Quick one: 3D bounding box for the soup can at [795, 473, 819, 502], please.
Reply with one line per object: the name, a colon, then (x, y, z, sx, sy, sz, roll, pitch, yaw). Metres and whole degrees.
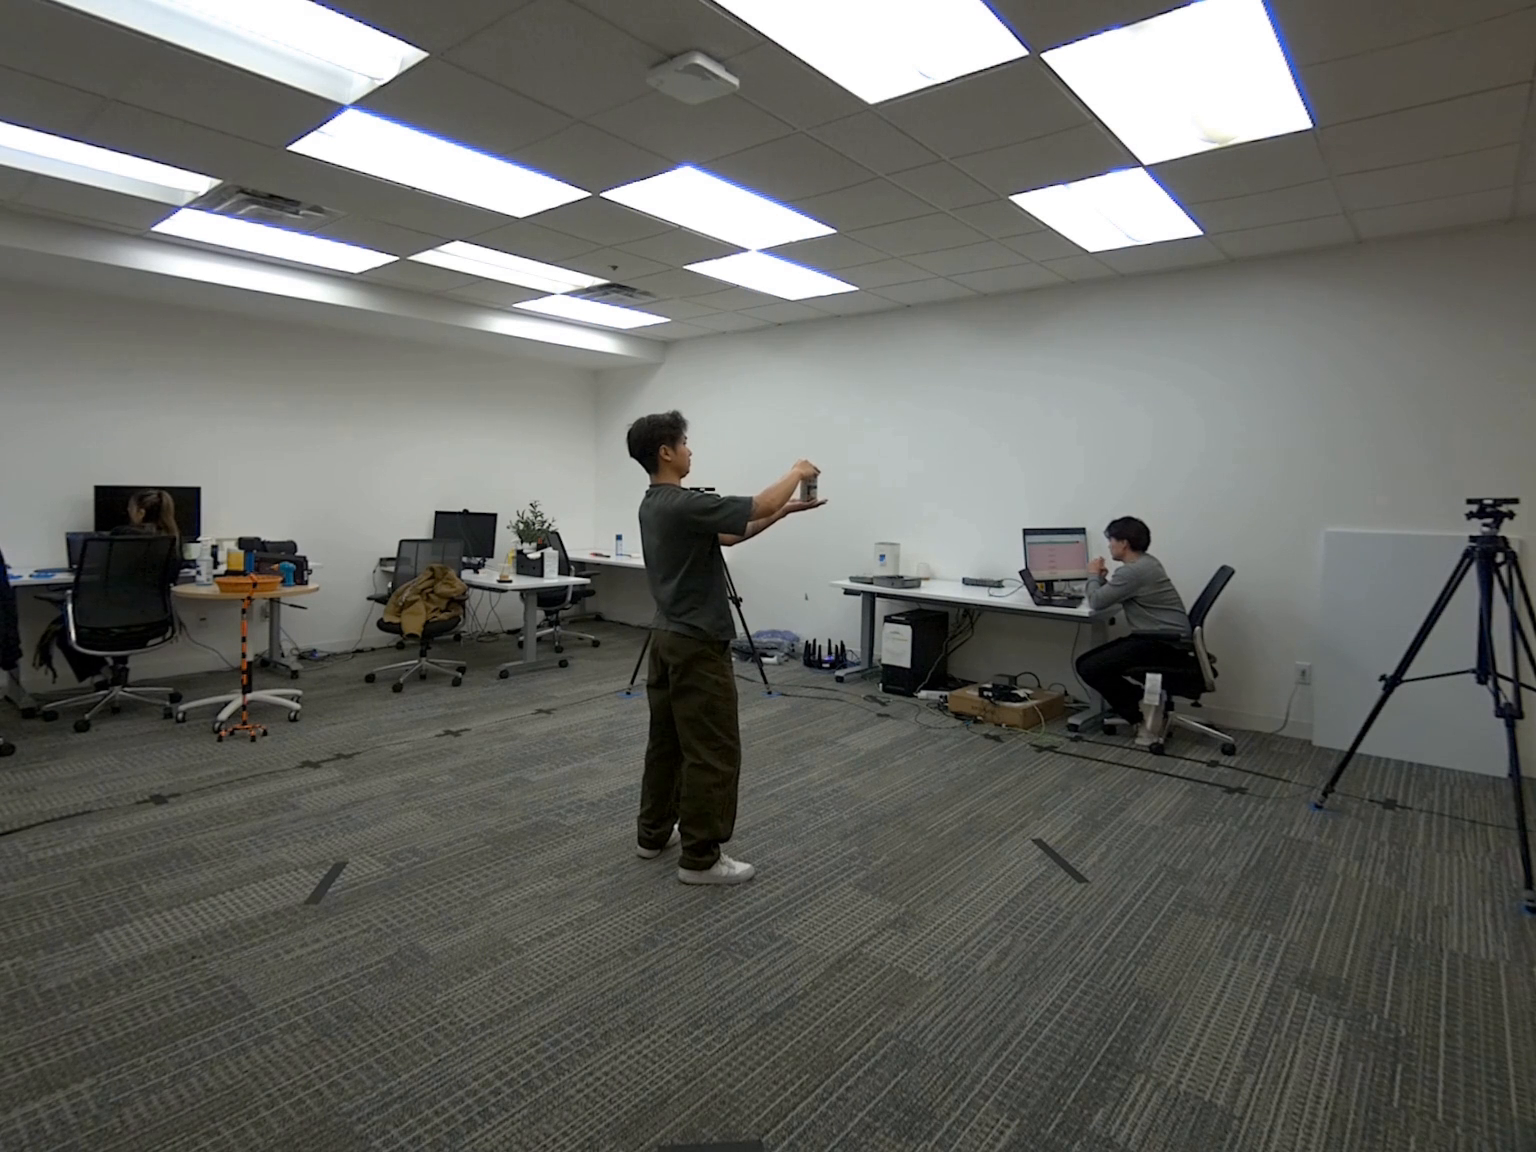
soup can: (0.148, -0.341, 3.239, 0.067, 0.121, 0.067, 6, 3, -2)
